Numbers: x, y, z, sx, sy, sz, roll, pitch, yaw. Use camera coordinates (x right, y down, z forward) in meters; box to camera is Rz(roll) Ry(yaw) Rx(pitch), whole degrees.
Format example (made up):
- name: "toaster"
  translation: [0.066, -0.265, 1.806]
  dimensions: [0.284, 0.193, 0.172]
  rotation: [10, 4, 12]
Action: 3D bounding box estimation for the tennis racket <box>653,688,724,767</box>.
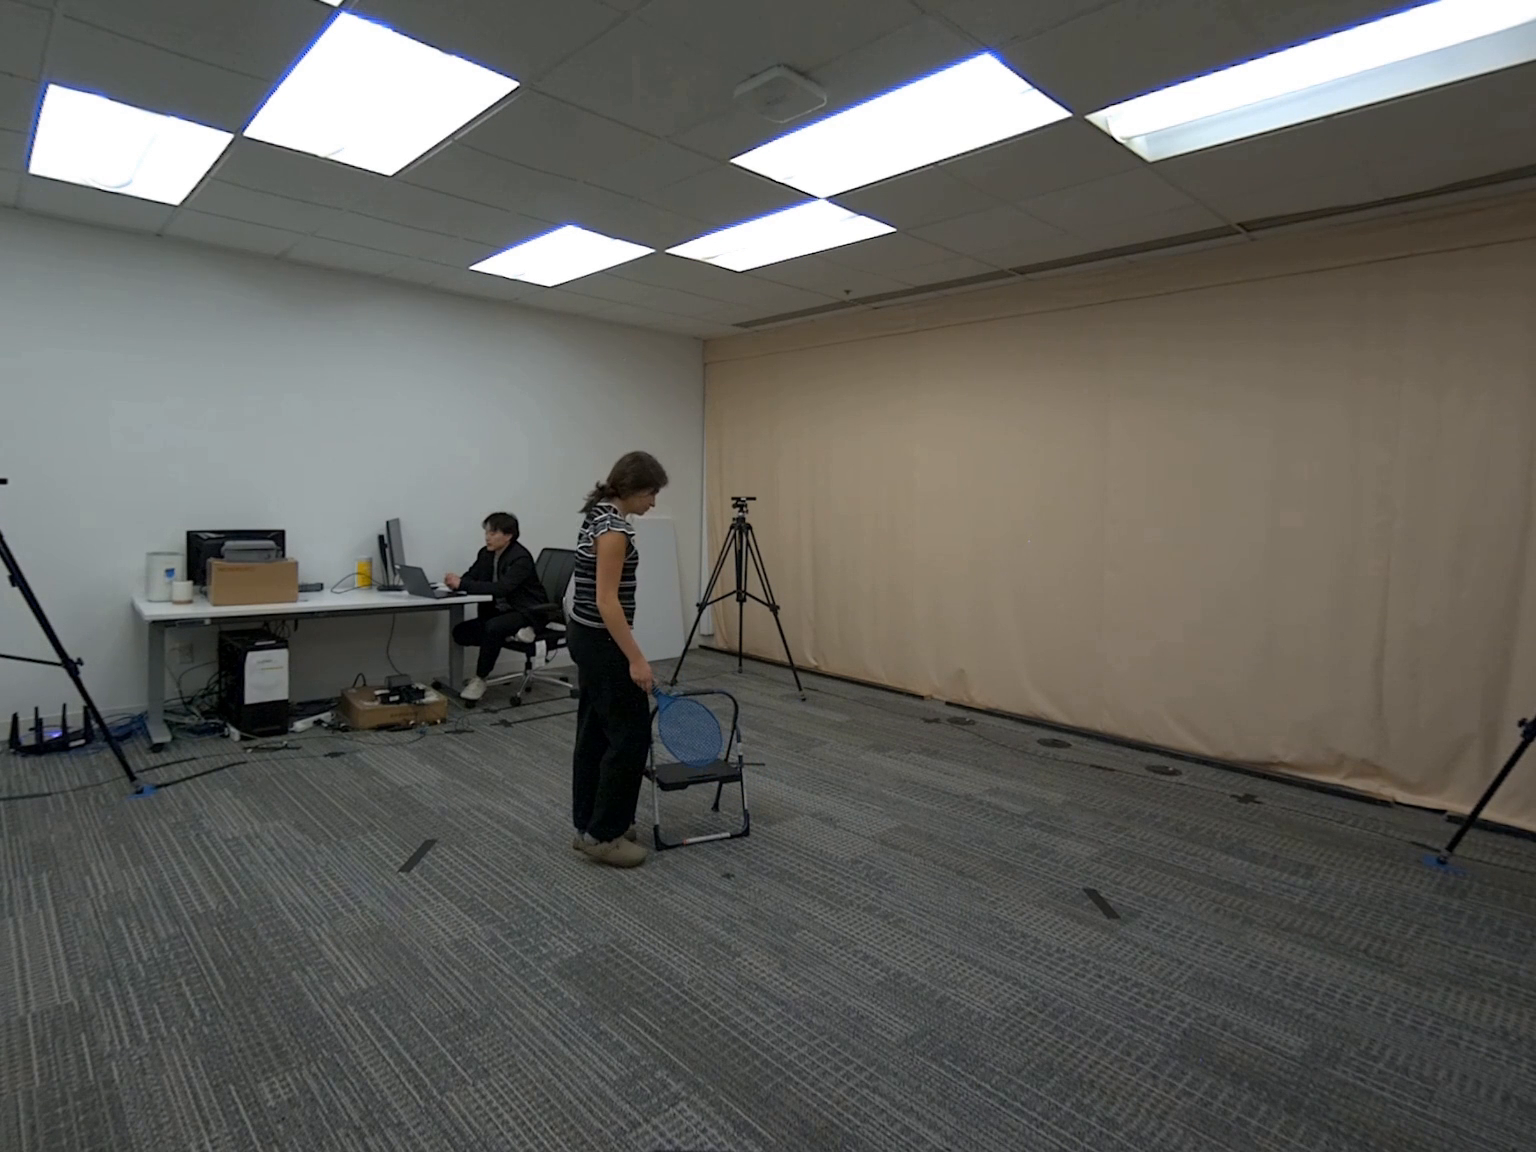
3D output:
- name: "tennis racket"
  translation: [-0.350, 0.512, 3.098]
  dimensions: [0.213, 0.435, 0.031]
  rotation: [-40, -6, -21]
